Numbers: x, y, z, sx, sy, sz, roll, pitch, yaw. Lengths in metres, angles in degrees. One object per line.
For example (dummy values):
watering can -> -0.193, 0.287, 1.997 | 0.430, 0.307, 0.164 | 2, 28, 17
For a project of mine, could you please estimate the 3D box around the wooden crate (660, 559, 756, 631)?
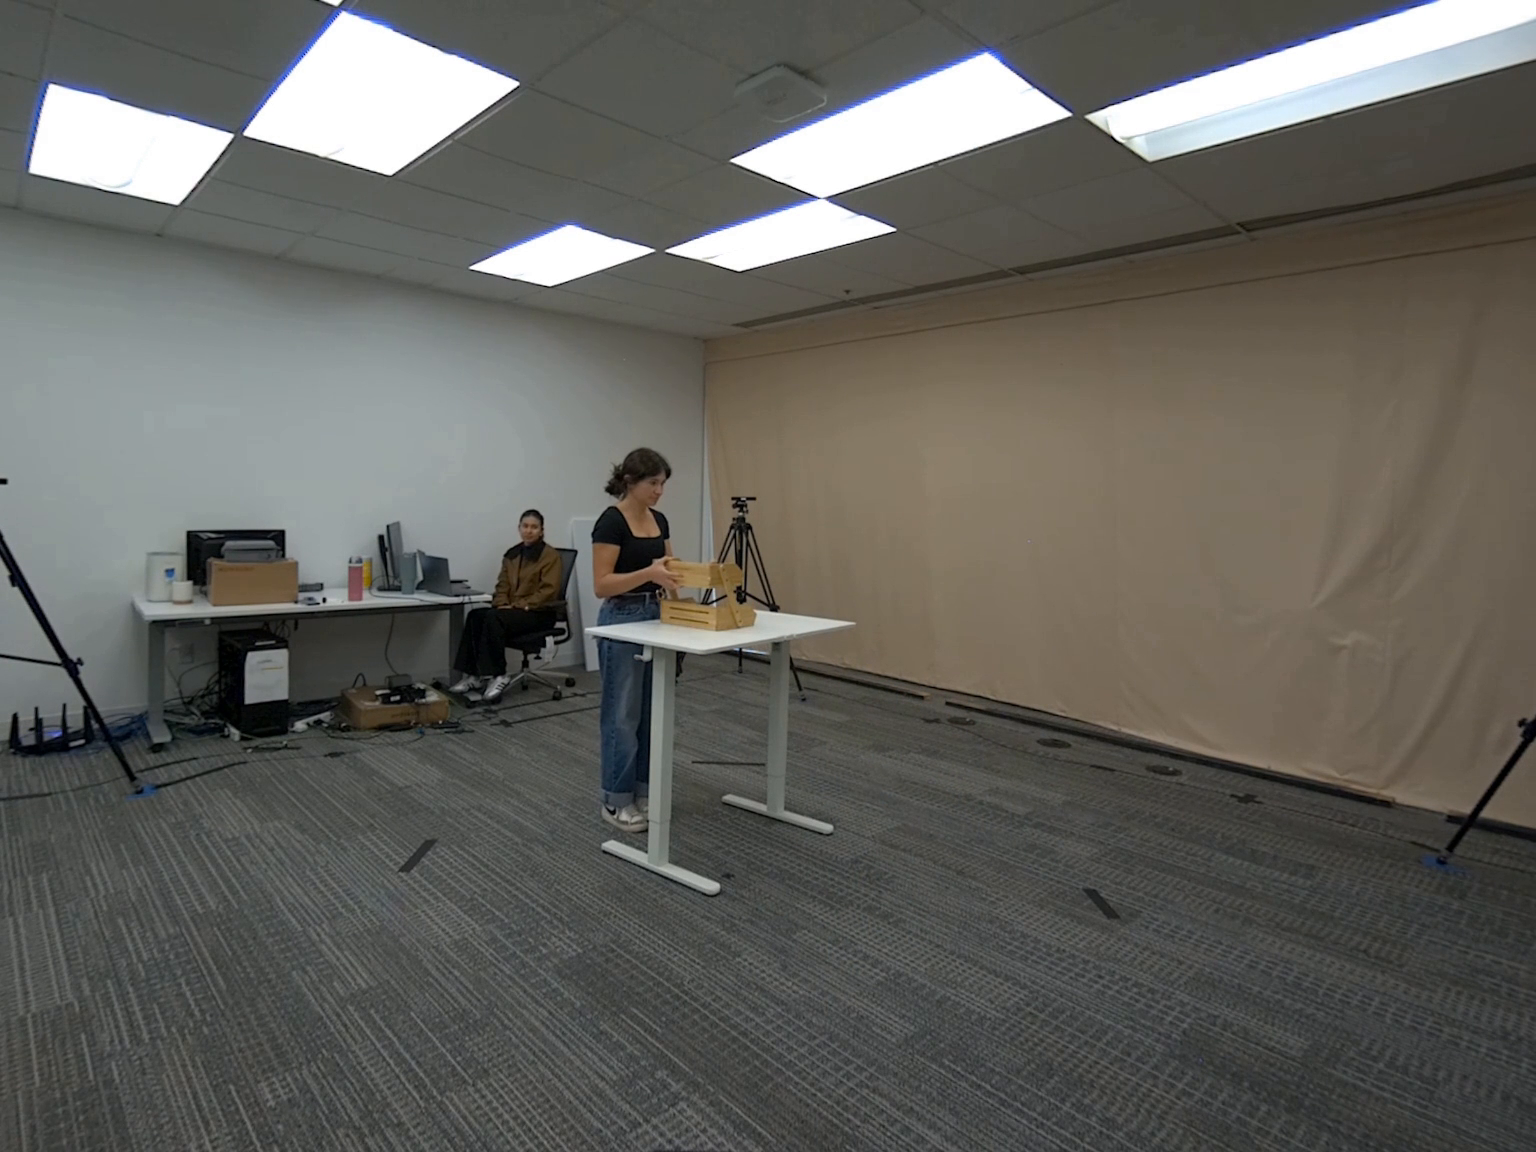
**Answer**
wooden crate -> -0.259, 0.063, 3.384 | 0.332, 0.272, 0.295 | 5, 6, 36
